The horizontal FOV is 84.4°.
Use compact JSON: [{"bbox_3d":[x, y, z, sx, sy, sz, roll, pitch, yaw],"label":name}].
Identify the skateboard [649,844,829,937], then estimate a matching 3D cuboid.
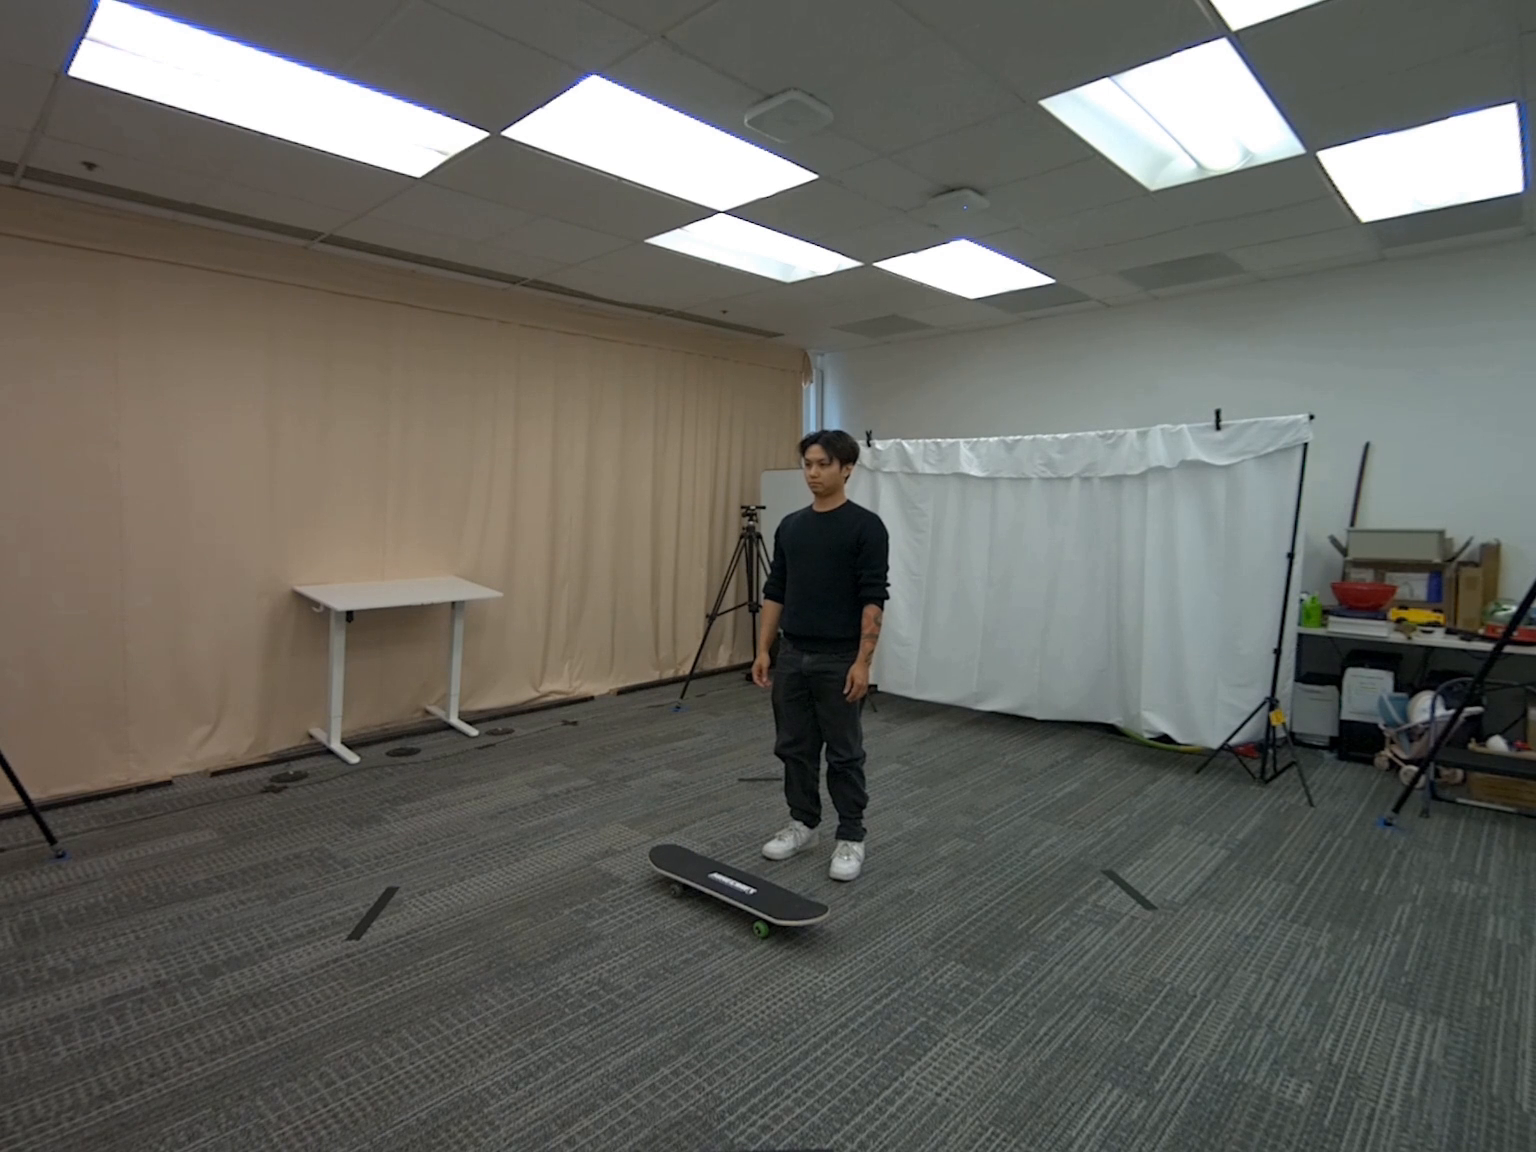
[{"bbox_3d":[-0.123,1.090,2.908,0.812,0.110,0.187,4,5,42],"label":"skateboard"}]
